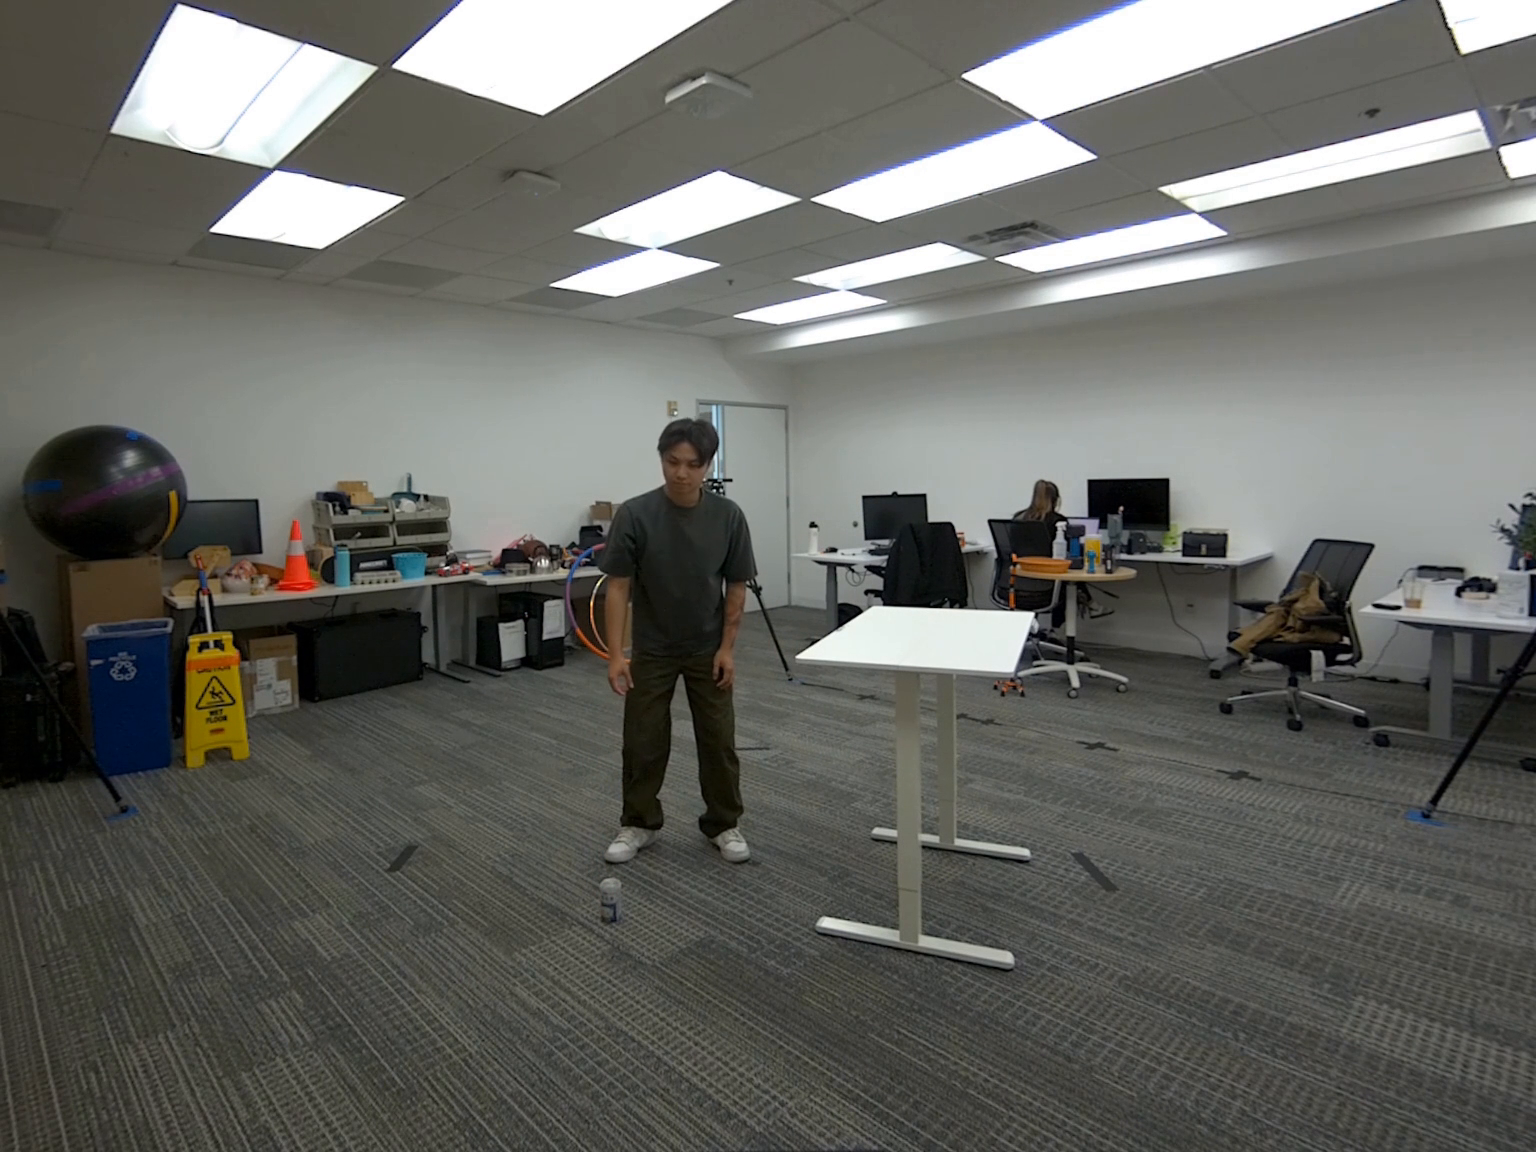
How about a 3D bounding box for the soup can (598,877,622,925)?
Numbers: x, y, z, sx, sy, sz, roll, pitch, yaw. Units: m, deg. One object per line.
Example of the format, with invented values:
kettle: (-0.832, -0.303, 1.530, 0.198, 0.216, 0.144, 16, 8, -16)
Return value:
soup can: (-0.505, 1.046, 2.730, 0.067, 0.120, 0.068, -4, 8, -1)
